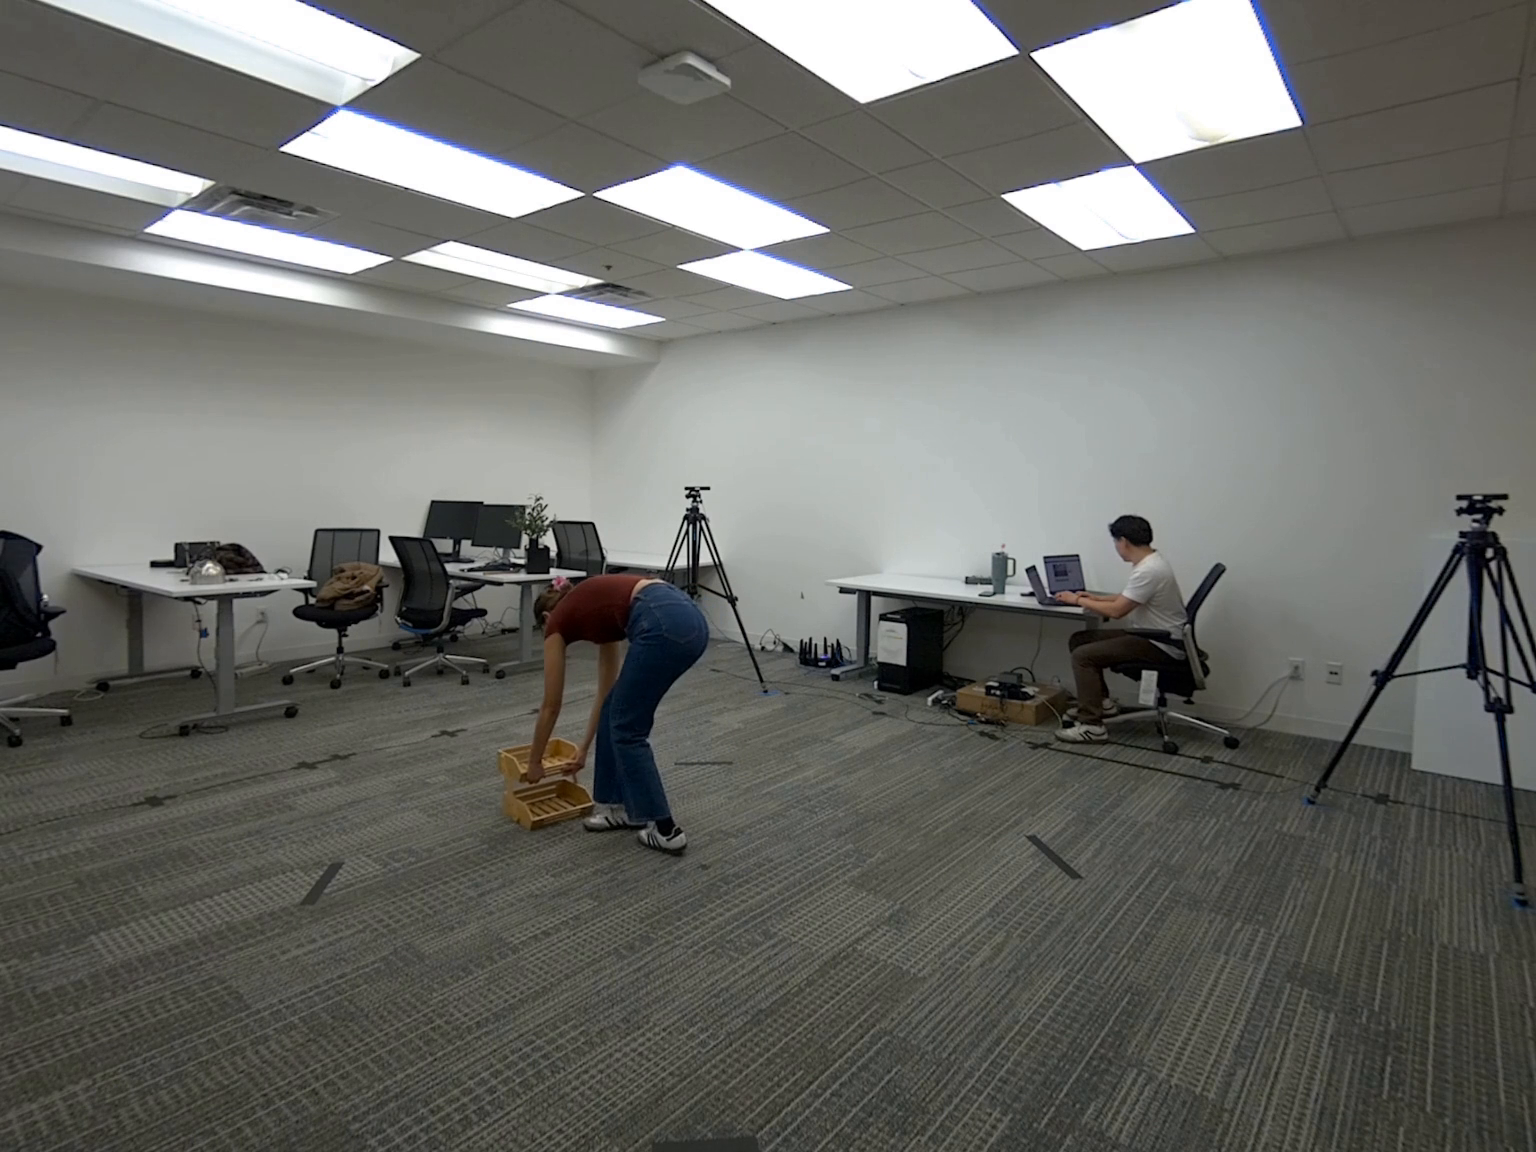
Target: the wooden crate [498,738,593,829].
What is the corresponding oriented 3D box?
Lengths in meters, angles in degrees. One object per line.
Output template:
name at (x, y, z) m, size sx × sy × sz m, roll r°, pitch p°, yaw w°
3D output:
wooden crate at (-0.958, 0.869, 3.621) m, size 0.315 × 0.272 × 0.312 m, roll -3°, pitch 6°, yaw -43°
